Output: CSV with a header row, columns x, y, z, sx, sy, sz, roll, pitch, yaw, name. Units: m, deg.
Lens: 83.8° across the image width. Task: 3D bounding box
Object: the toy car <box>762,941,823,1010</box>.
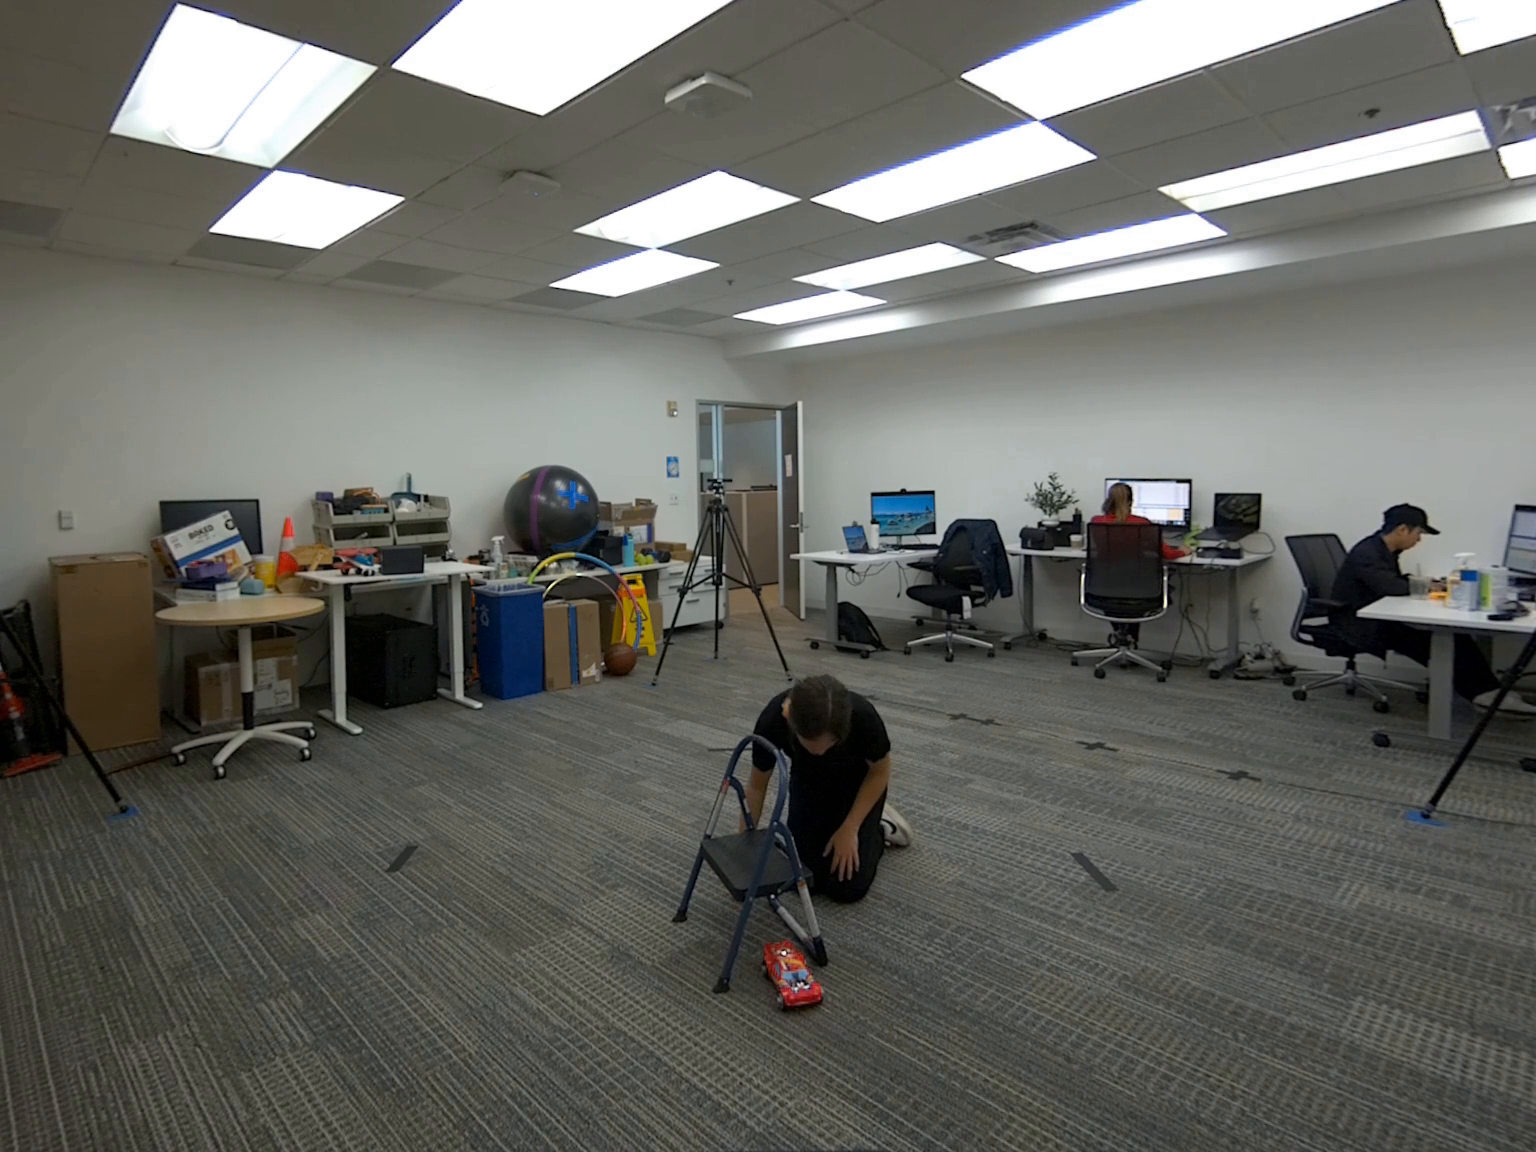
x,y,z,sx,sy,sz,roll,pitch,yaw,name
0.068,1.104,2.348,0.128,0.082,0.261,-3,17,-15,toy car
